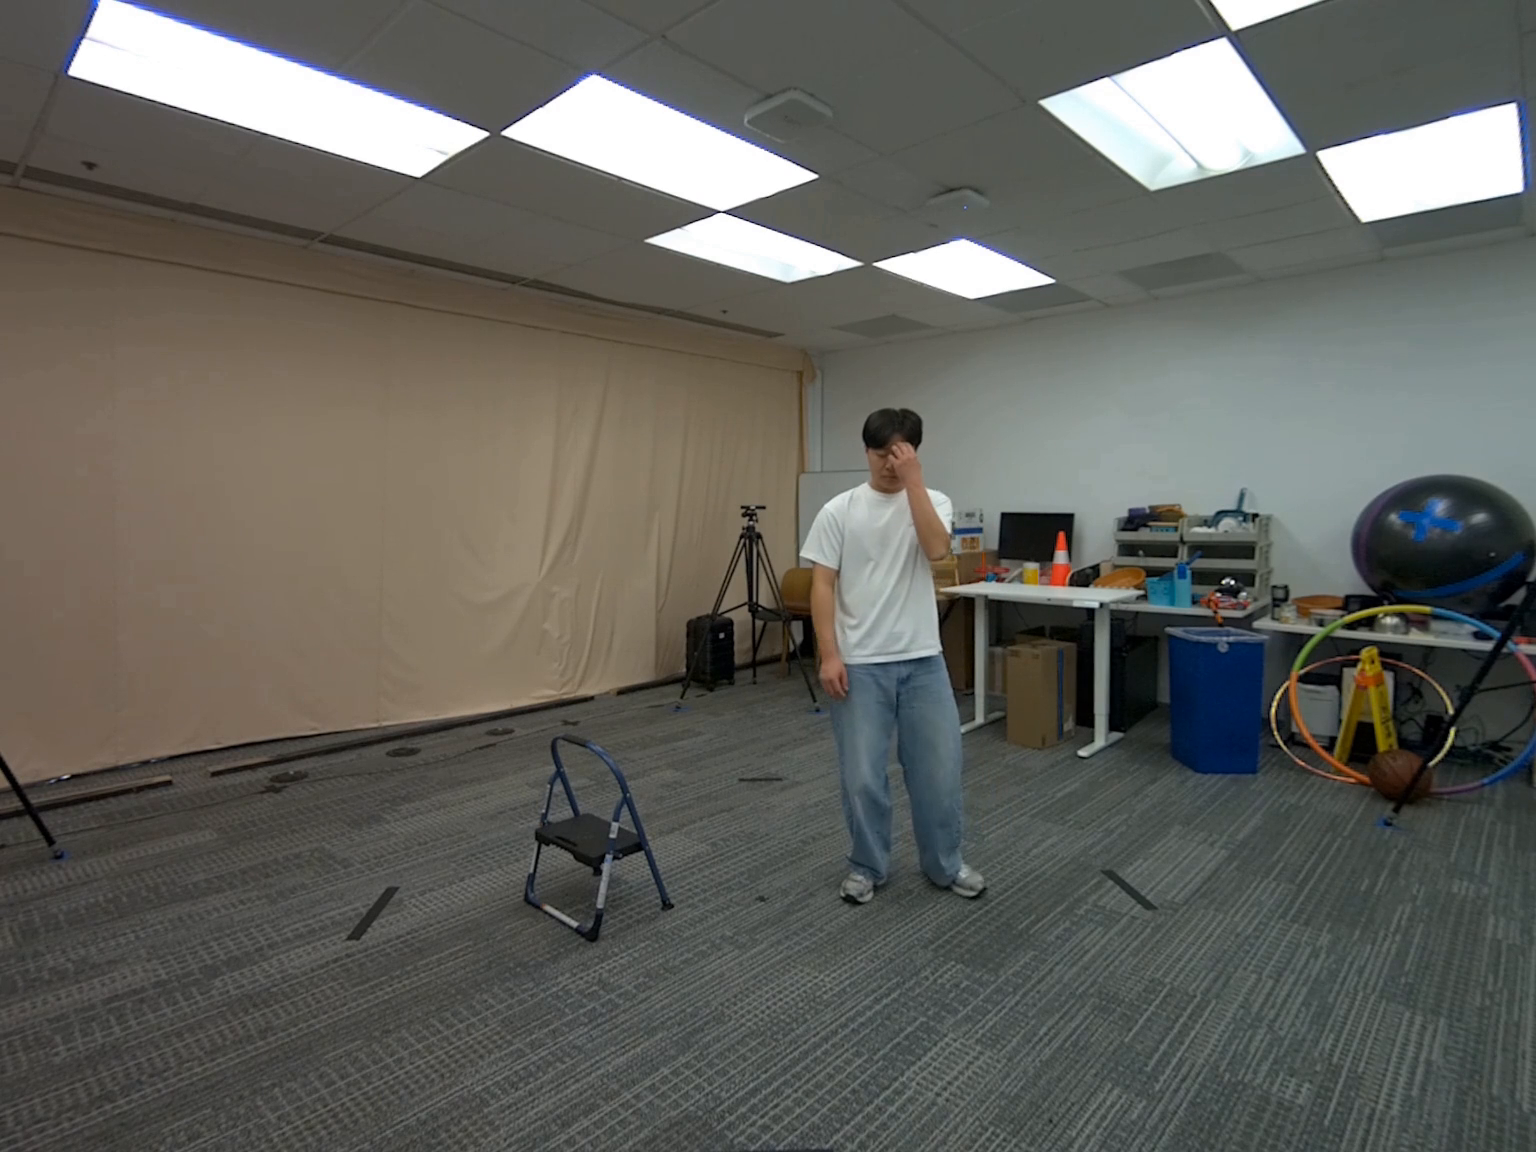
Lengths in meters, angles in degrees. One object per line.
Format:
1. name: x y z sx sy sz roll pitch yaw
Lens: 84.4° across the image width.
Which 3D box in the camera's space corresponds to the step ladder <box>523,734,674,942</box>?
1. step ladder: -0.602 0.851 2.940 0.445 0.605 0.338 2 3 43
